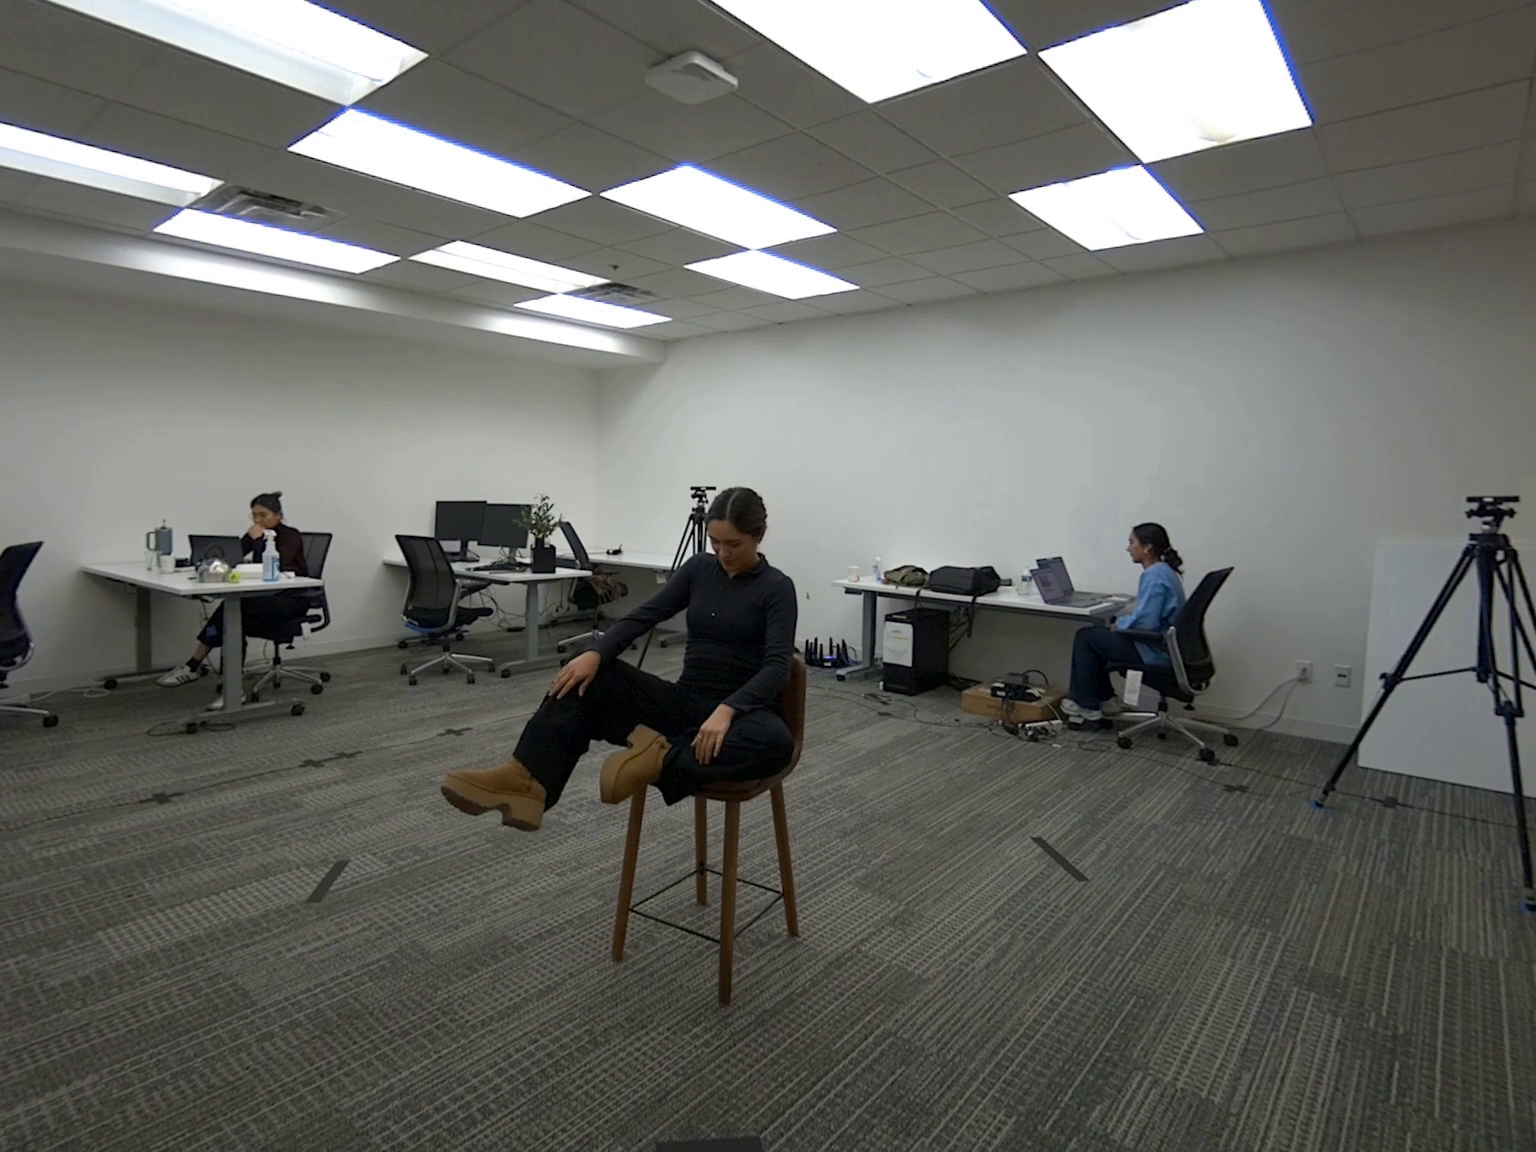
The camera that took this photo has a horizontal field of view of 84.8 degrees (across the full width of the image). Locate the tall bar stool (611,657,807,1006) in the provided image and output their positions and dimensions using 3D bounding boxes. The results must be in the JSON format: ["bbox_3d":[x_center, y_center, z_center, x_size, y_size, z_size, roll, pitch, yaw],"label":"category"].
[{"bbox_3d":[-0.167,0.688,2.557,0.470,0.888,0.454,3,2,32],"label":"tall bar stool"}]
